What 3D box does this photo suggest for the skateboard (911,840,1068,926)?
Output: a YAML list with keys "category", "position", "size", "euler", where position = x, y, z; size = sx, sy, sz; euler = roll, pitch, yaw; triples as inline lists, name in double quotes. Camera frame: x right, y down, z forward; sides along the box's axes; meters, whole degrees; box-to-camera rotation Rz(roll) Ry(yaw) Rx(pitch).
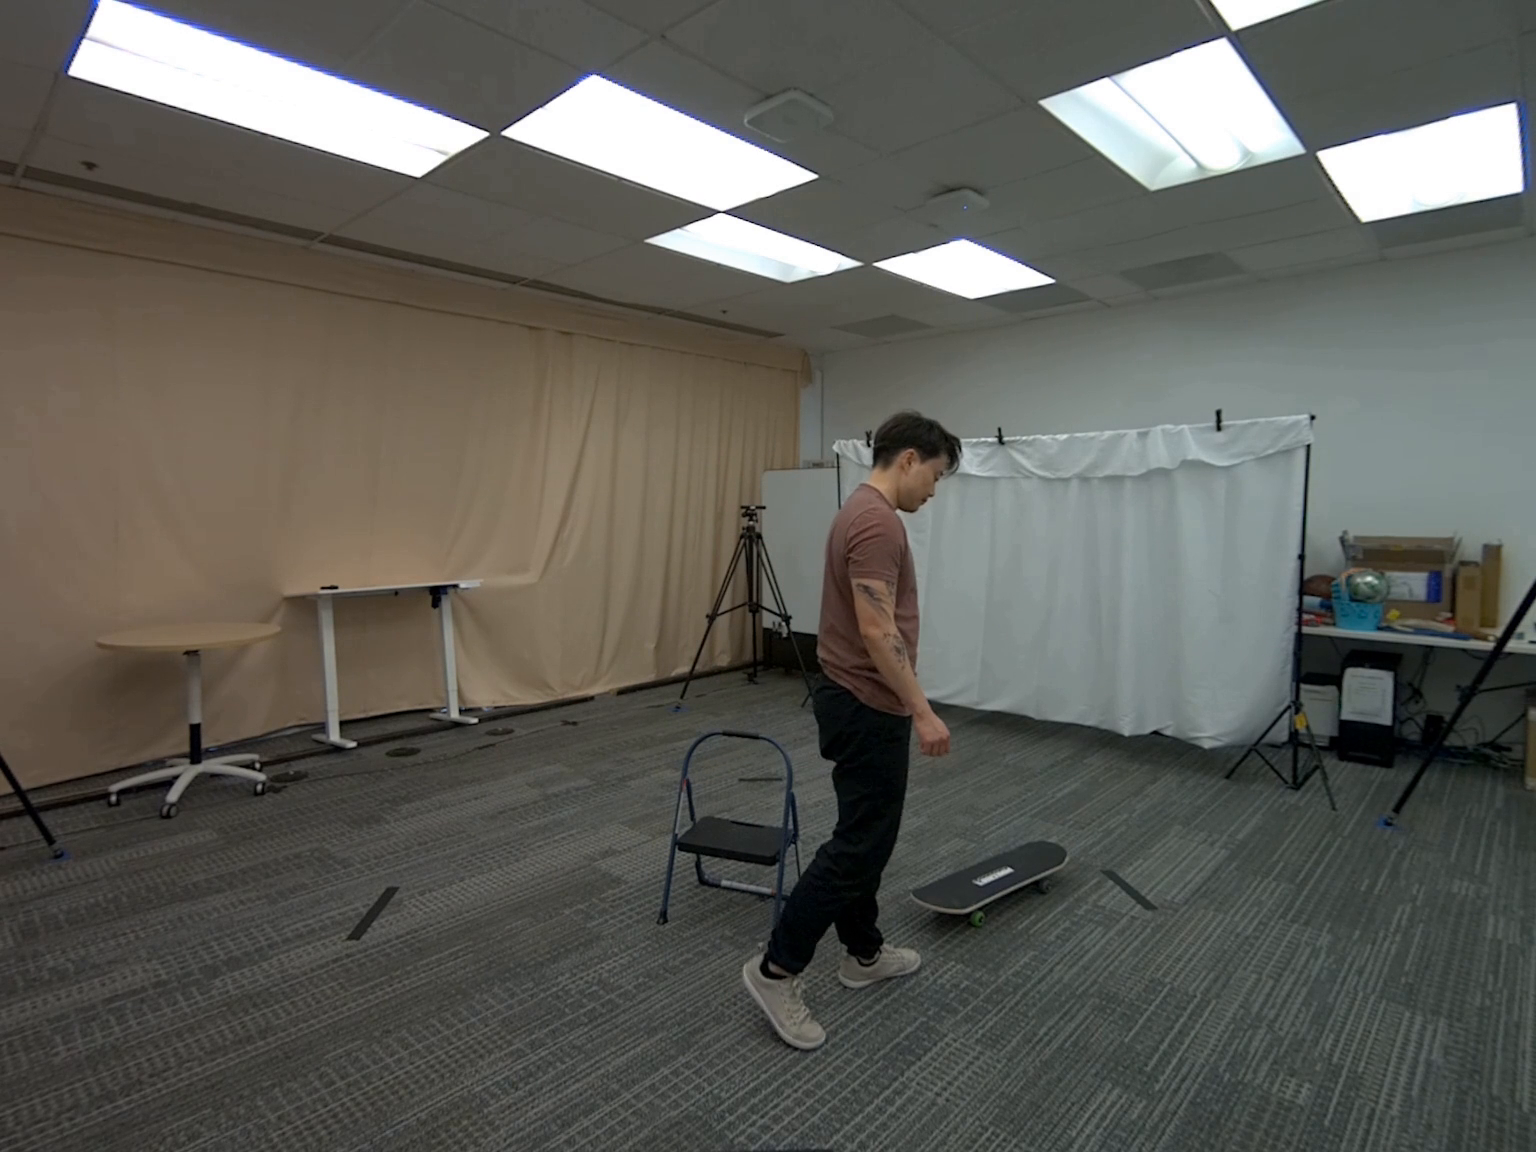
- category: "skateboard"
  position: [0.798, 1.093, 2.951]
  size: [0.762, 0.110, 0.200]
  euler: [-3, 6, -38]
